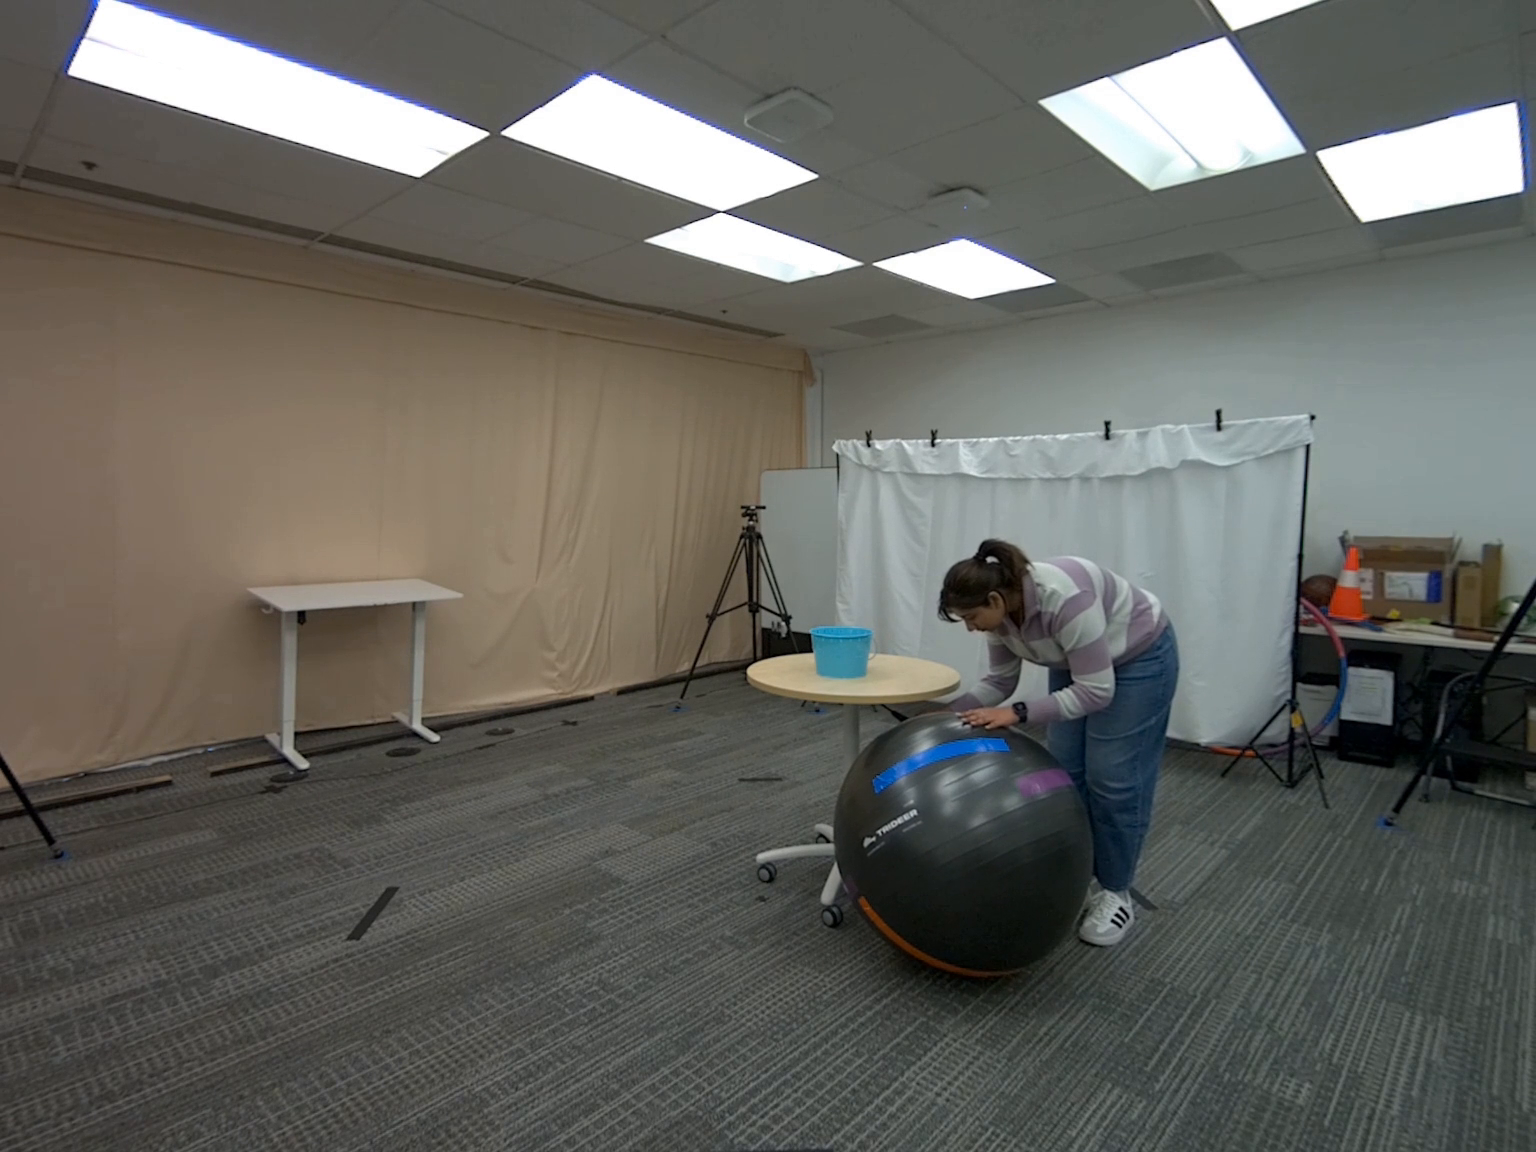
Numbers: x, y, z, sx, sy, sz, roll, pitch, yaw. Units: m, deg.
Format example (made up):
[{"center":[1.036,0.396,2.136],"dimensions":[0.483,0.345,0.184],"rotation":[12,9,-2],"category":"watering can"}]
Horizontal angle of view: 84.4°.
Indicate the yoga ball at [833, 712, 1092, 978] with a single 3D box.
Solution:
[{"center":[0.592,0.810,2.561],"dimensions":[0.757,0.756,0.760],"rotation":[0,4,-2],"category":"yoga ball"}]
